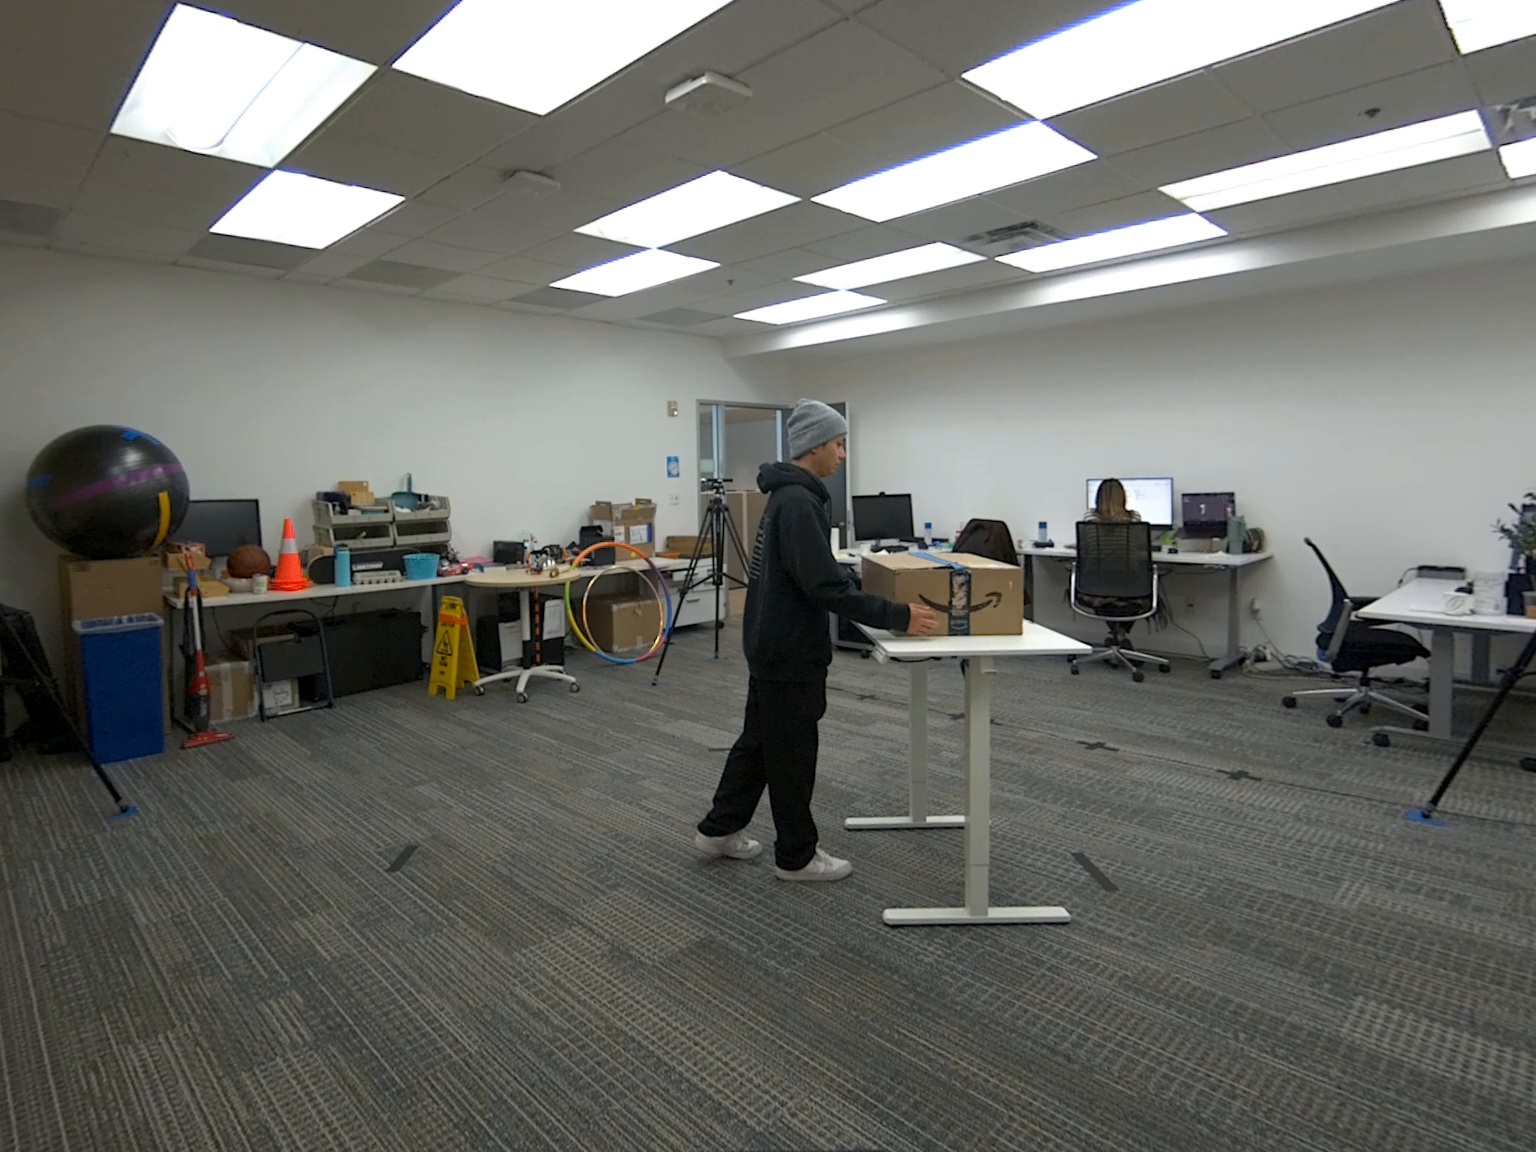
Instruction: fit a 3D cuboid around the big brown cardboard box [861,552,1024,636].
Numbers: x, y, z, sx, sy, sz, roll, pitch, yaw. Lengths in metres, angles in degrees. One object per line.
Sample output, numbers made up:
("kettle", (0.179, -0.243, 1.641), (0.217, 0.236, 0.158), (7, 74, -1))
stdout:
("big brown cardboard box", (0.581, 0.054, 2.990), (0.417, 0.232, 0.592), (-1, 5, -3))
